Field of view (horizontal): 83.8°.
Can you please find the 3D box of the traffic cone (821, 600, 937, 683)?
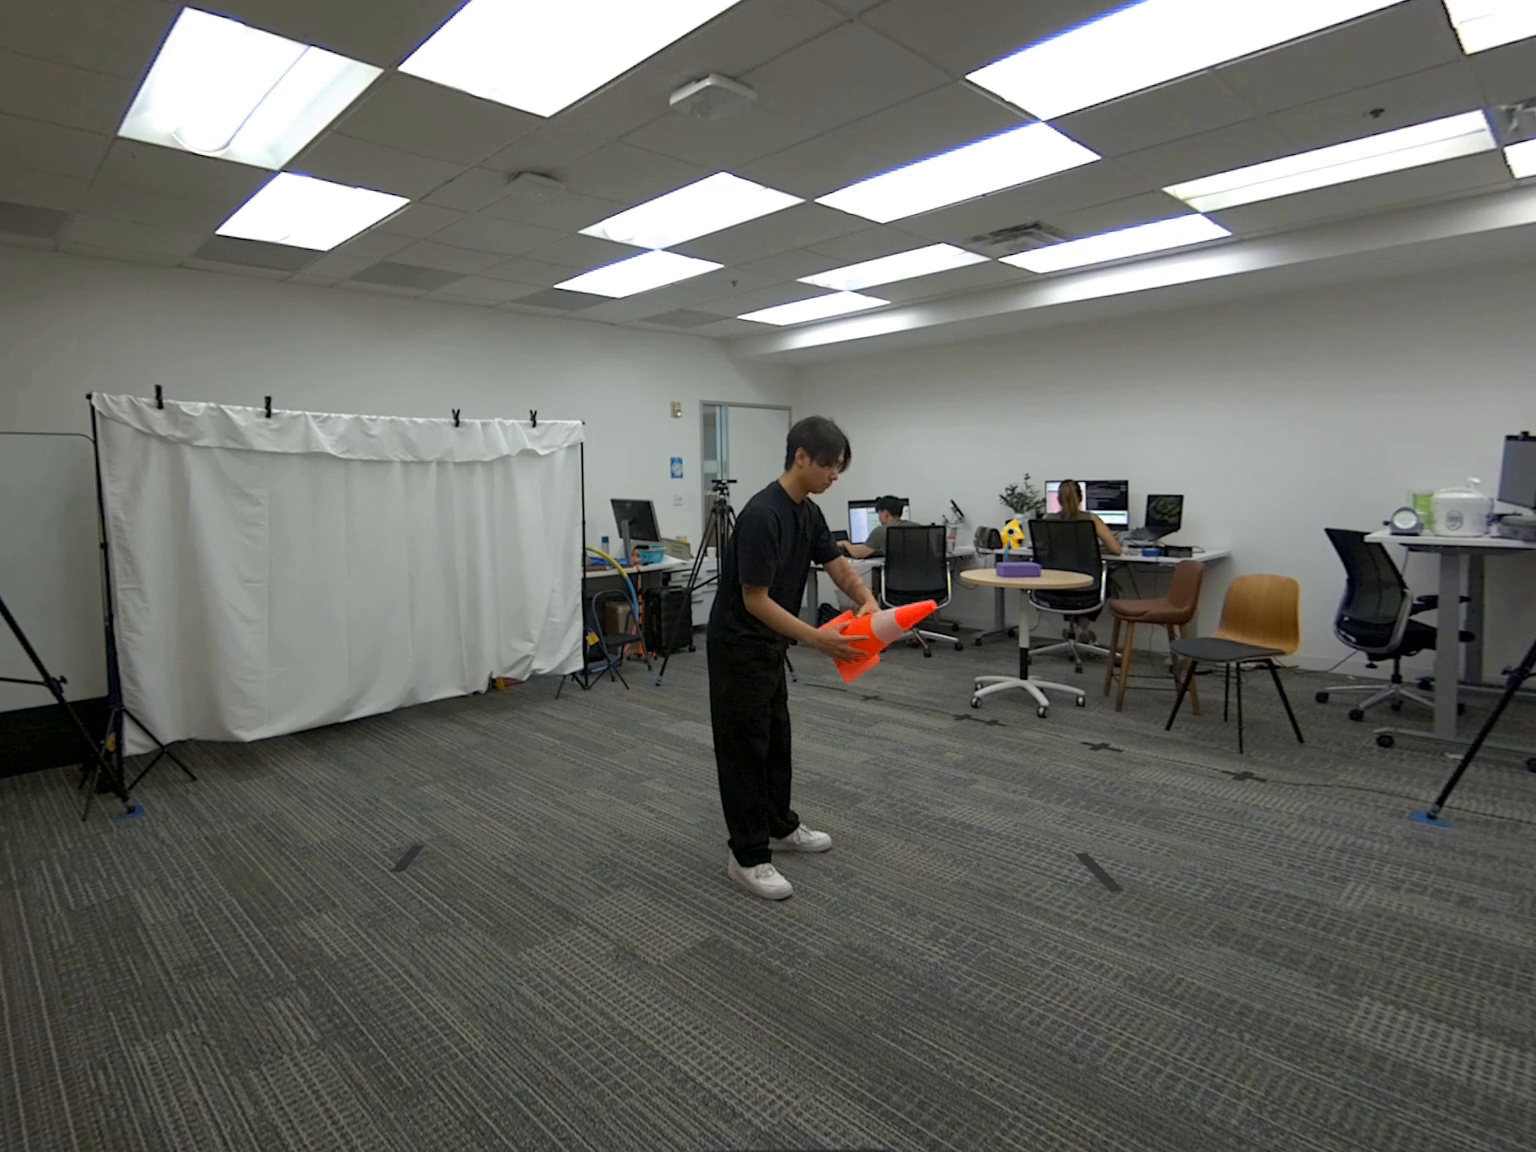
[{"bbox_3d":[0.376,0.164,2.689,0.200,0.206,0.387,-24,-6,-44],"label":"traffic cone"}]
